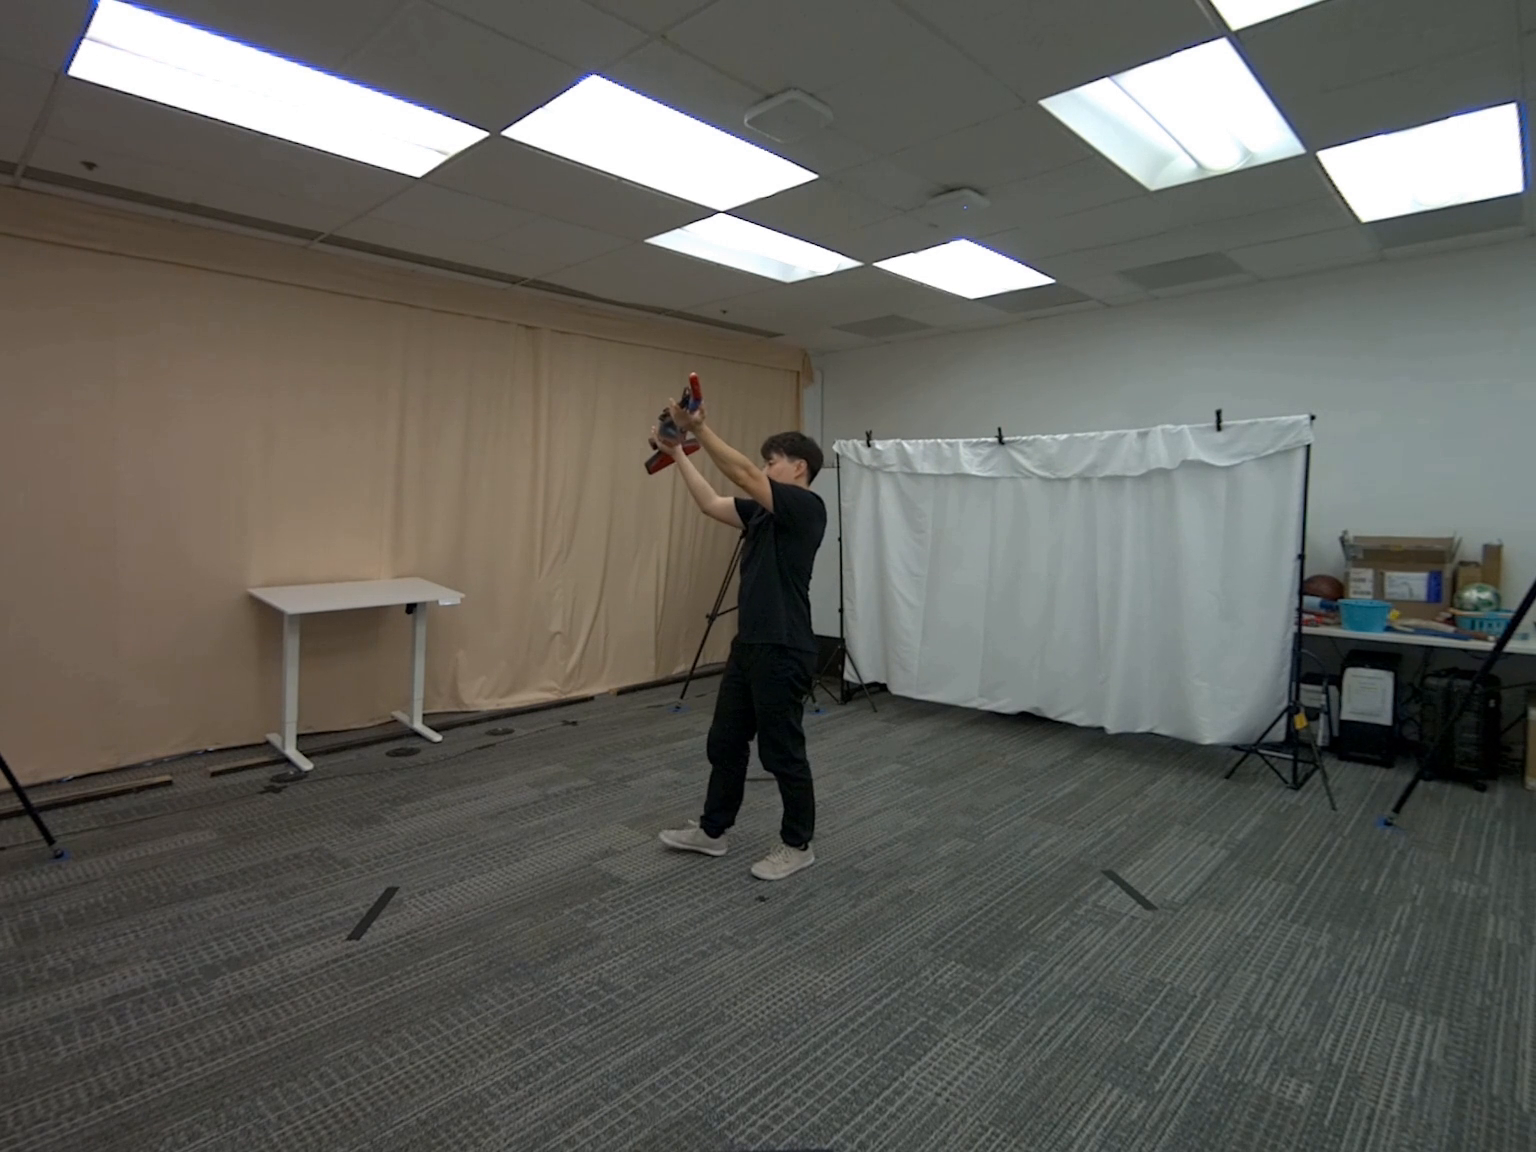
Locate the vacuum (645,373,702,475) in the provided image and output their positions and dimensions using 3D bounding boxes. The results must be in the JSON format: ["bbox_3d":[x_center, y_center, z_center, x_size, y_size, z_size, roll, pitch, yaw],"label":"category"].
[{"bbox_3d":[-0.325,-0.571,3.044,0.251,0.144,1.055,-28,1,-10],"label":"vacuum"}]
